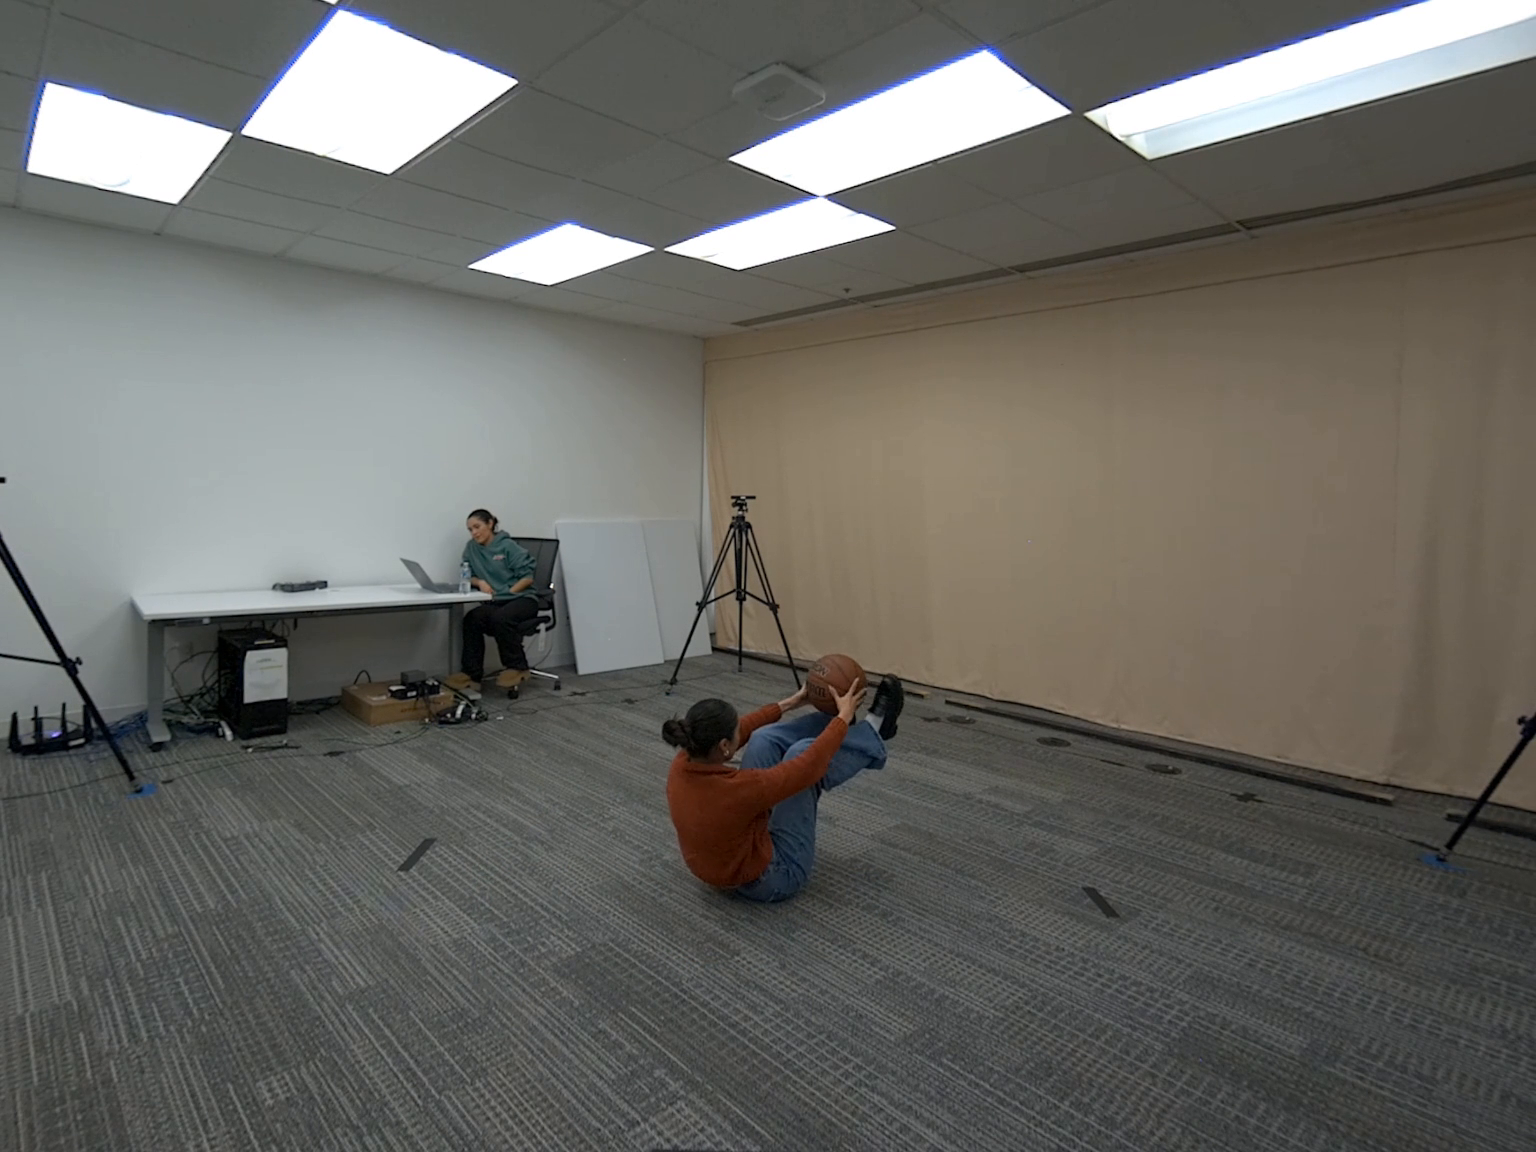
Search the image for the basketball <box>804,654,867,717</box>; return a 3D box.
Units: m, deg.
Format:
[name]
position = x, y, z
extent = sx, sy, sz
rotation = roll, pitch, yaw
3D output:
[basketball]
position = 0.246, 0.423, 3.229
extent = 0.236, 0.234, 0.237
rotation = 0, 8, -1
